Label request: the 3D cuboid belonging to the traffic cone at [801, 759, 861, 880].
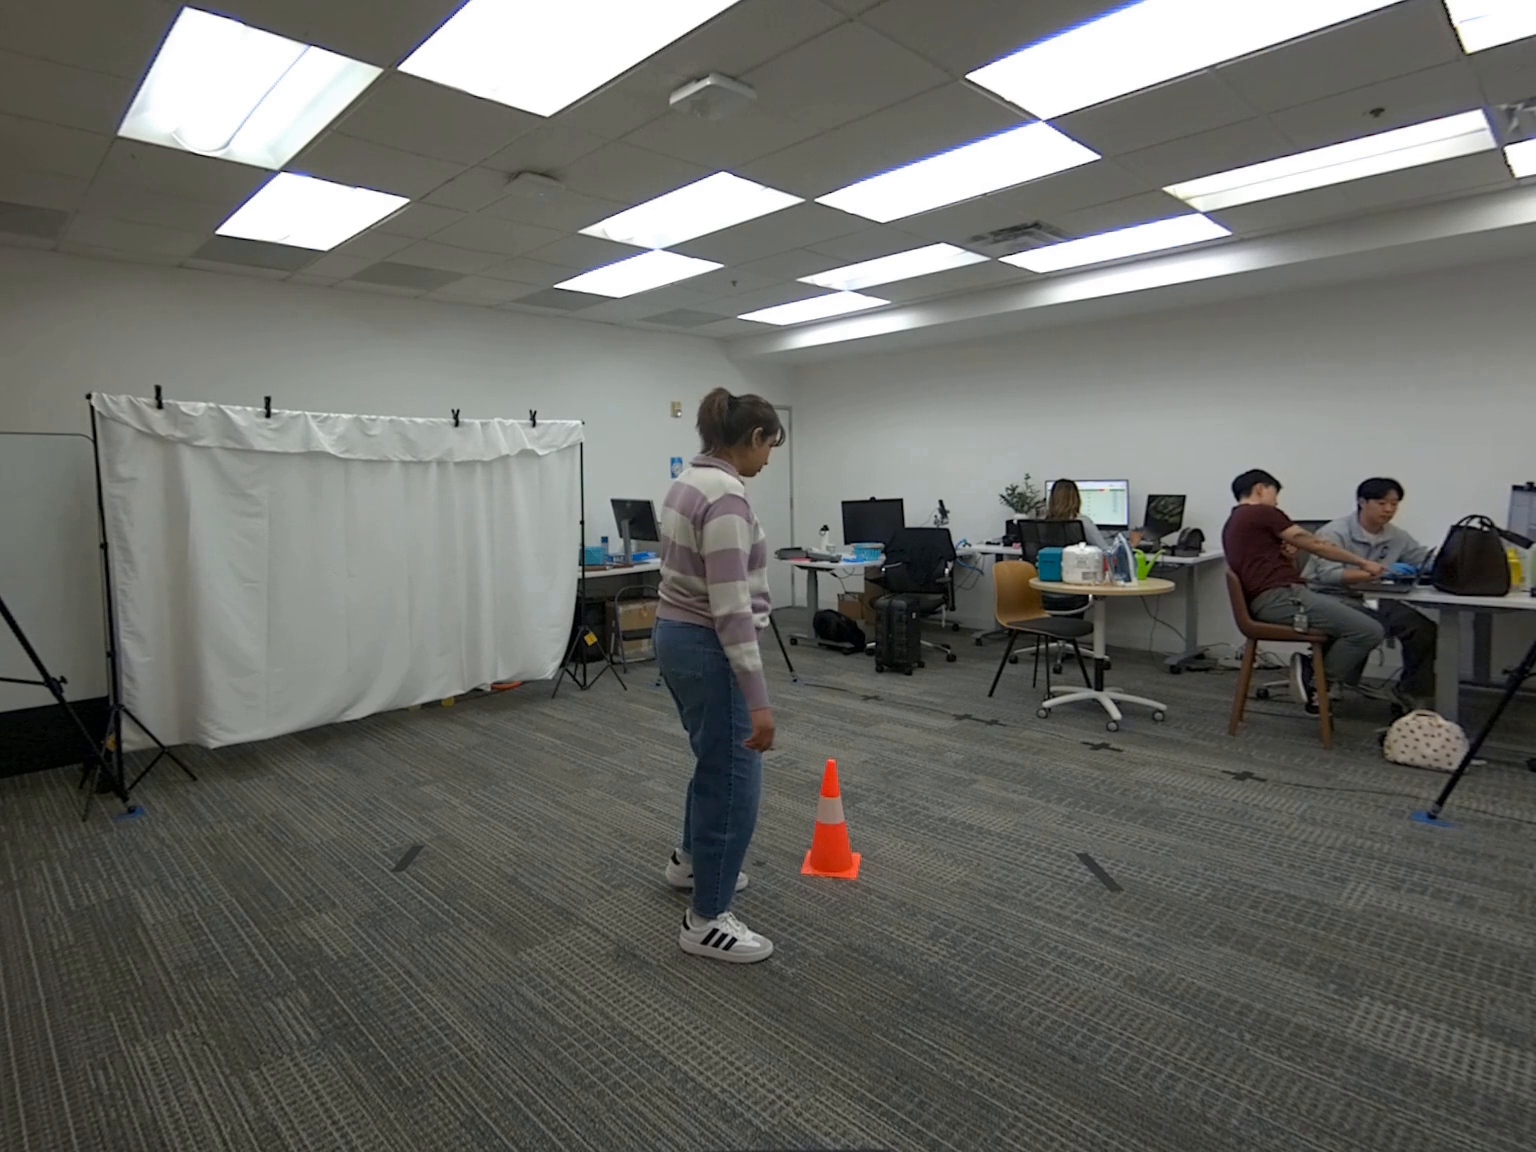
[{"bbox_3d":[0.227,0.860,3.081,0.206,0.382,0.203,-1,4,12],"label":"traffic cone"}]
